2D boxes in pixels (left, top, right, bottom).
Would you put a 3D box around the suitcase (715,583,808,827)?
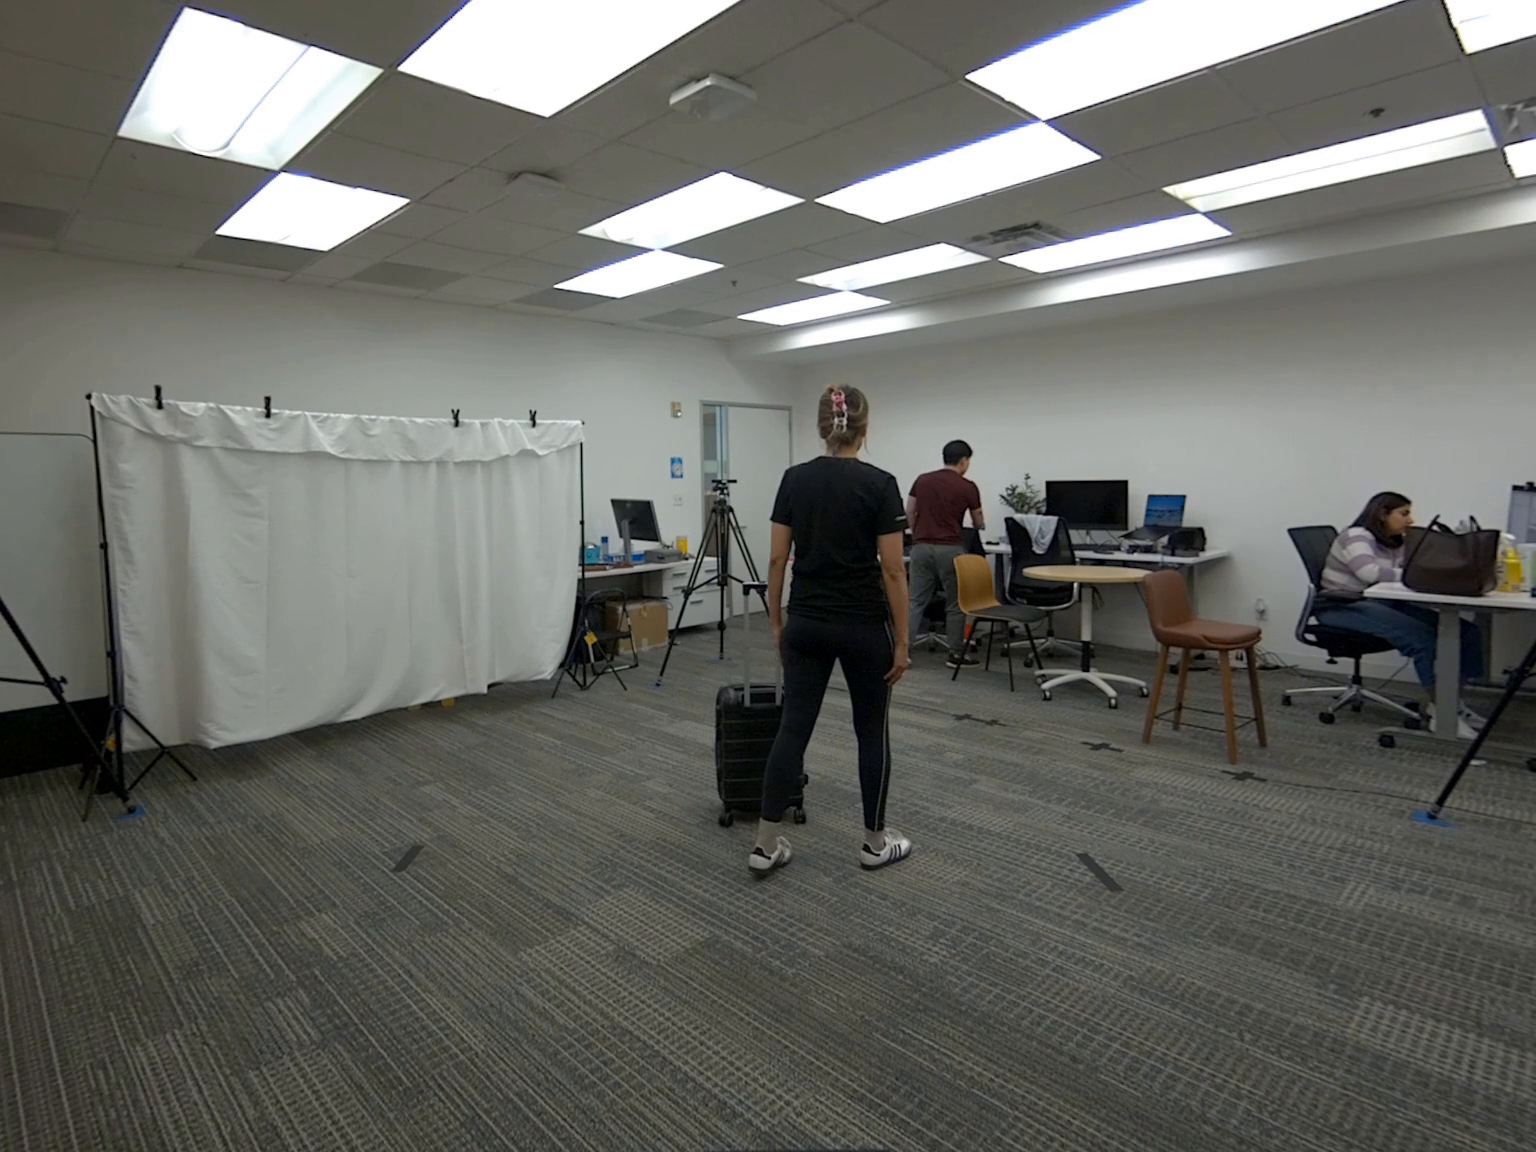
[{"bbox_3d":[-0.034,0.516,3.564,0.383,0.978,0.258,-1,1,-2],"label":"suitcase"}]
